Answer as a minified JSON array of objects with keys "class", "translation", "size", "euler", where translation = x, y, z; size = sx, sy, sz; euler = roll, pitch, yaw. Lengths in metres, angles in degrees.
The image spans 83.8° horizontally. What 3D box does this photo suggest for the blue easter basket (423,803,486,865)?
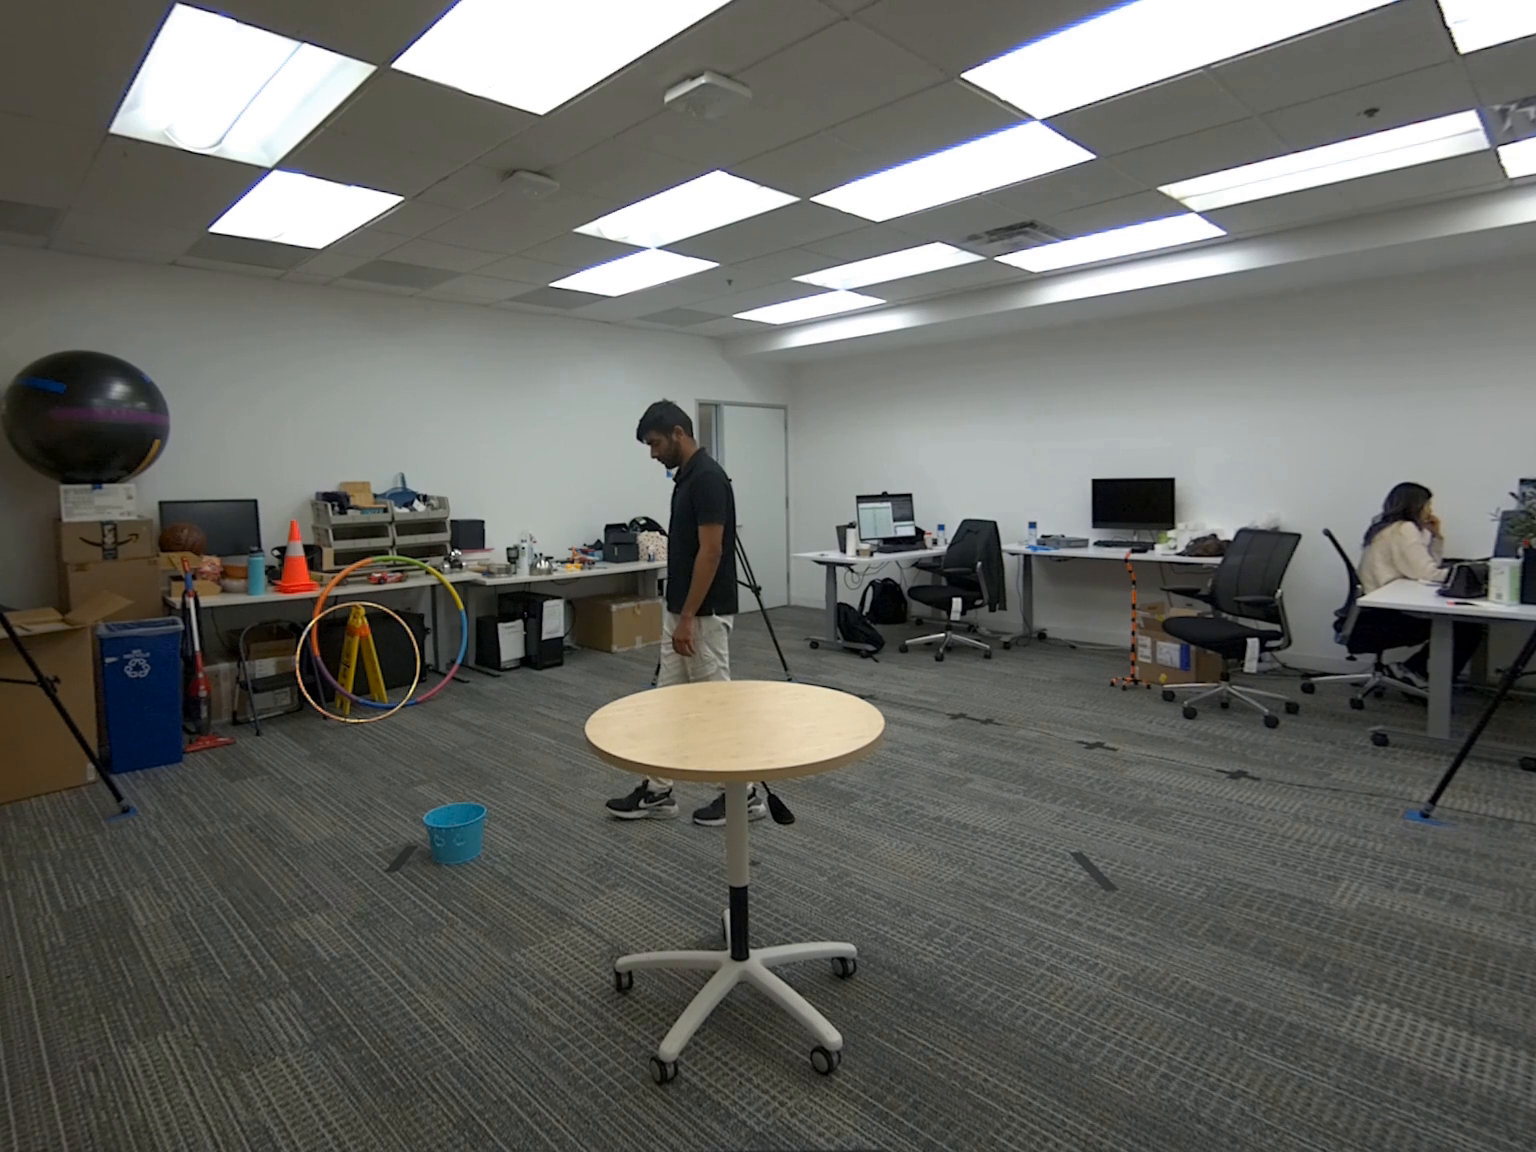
[{"class":"blue easter basket","translation":[-1.173,0.973,3.241],"size":[0.243,0.155,0.245],"euler":[-2,6,-2]}]
